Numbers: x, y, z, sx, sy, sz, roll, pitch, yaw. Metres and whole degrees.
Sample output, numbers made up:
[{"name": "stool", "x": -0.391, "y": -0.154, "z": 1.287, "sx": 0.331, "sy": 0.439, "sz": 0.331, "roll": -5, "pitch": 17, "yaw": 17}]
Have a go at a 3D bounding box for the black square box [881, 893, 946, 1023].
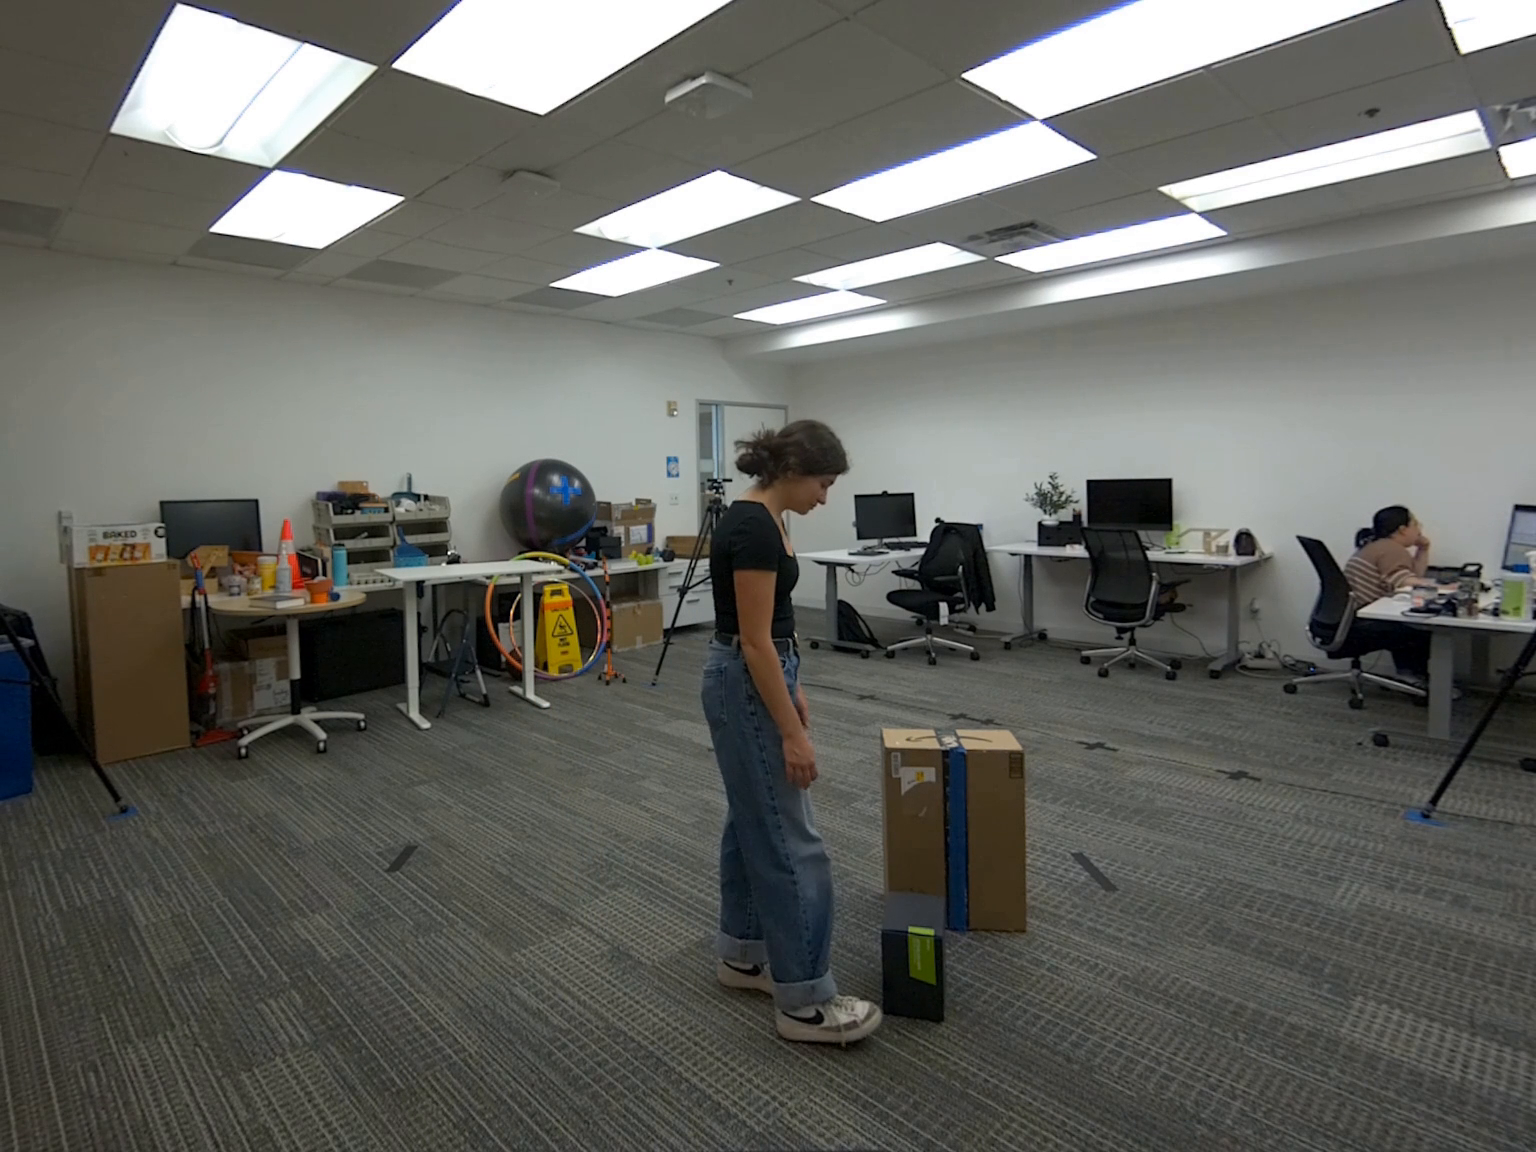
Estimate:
[{"name": "black square box", "x": 0.398, "y": 1.010, "z": 2.295, "sx": 0.158, "sy": 0.227, "sz": 0.215, "roll": -2, "pitch": 5, "yaw": 14}]
